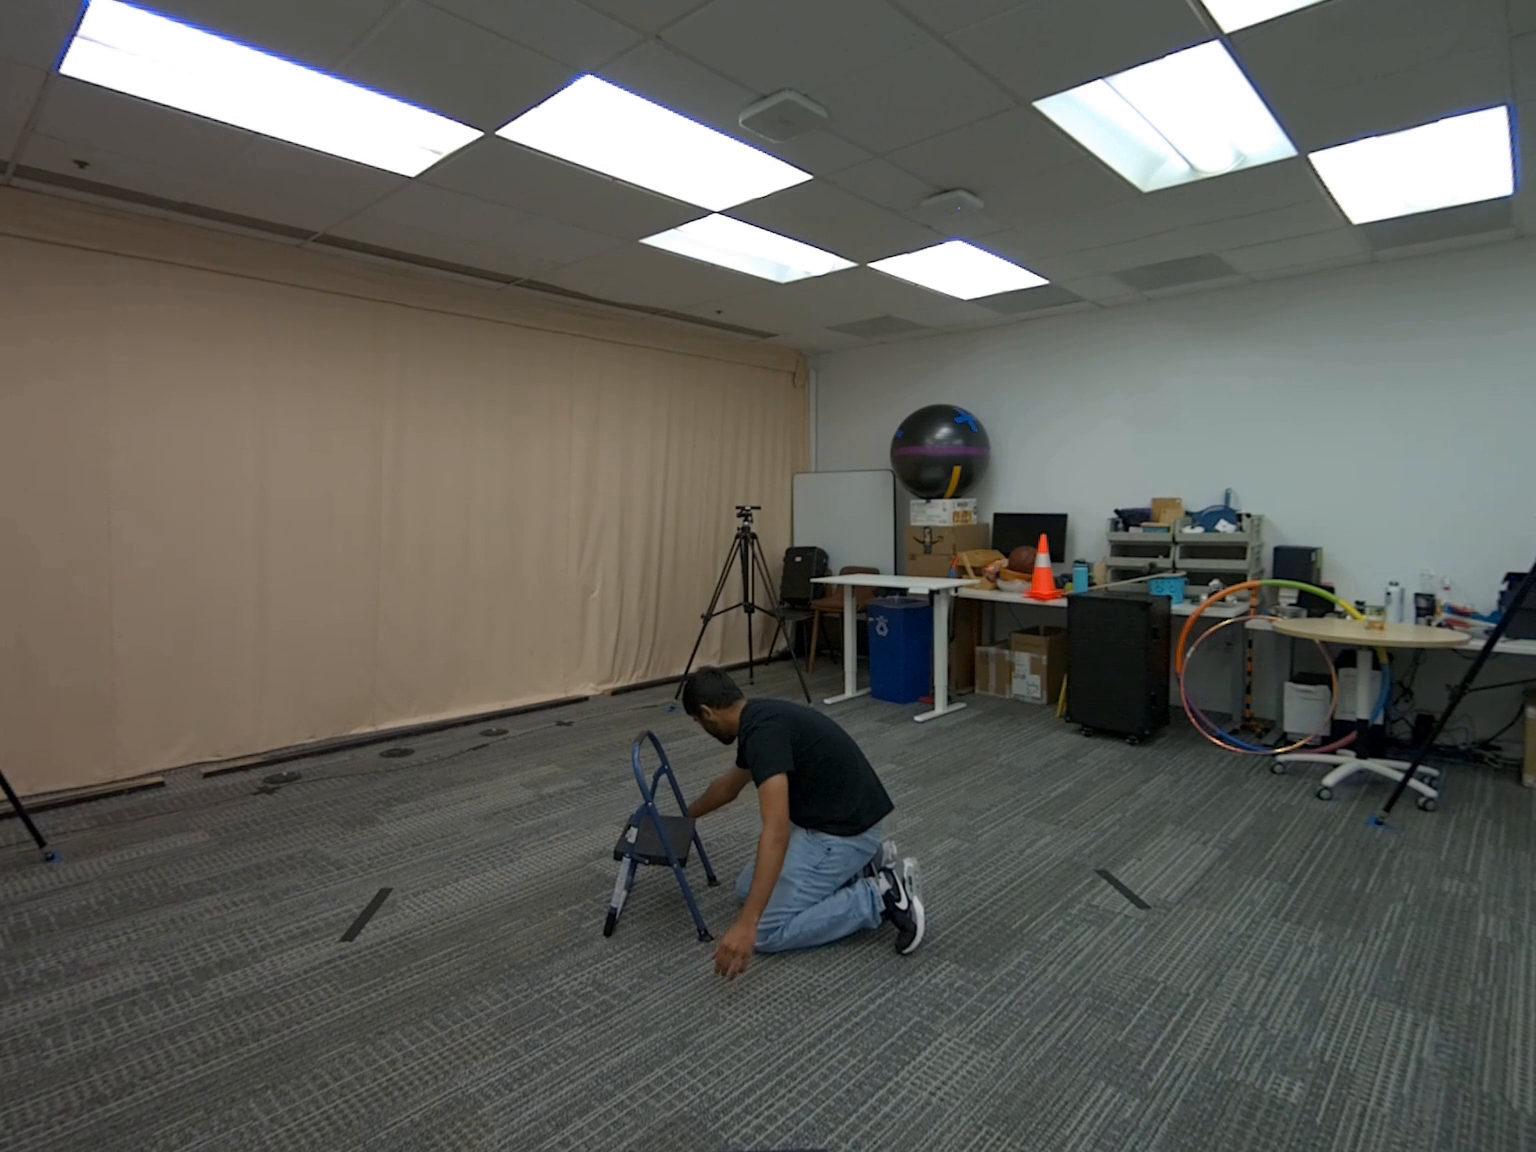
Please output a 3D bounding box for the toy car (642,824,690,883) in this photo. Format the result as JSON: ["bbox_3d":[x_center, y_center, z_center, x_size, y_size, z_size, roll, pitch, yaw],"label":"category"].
[{"bbox_3d":[-0.407,1.091,3.350,0.128,0.082,0.261,0,15,-18],"label":"toy car"}]
